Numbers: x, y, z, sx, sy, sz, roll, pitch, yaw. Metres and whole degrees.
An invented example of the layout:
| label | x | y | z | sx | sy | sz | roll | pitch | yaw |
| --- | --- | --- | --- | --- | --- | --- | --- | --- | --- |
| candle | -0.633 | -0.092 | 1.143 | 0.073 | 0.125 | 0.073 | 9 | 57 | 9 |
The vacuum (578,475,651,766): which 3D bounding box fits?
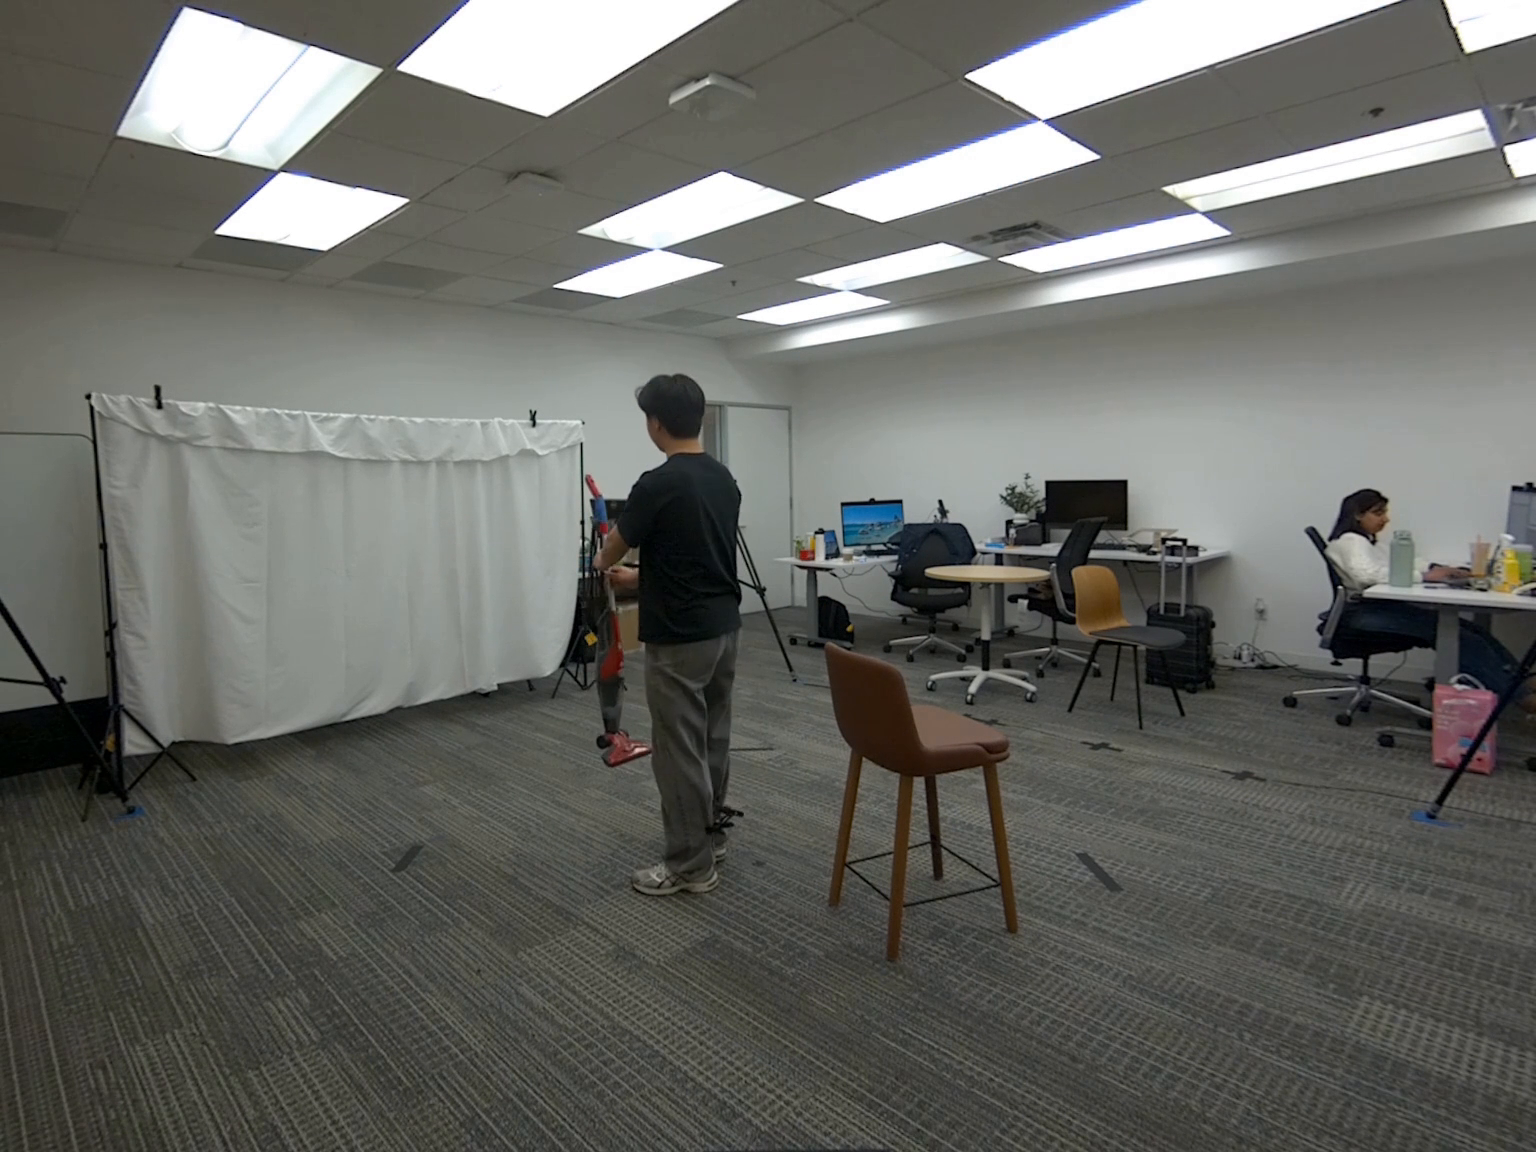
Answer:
| label | x | y | z | sx | sy | sz | roll | pitch | yaw |
| --- | --- | --- | --- | --- | --- | --- | --- | --- | --- |
| vacuum | -0.628 | 0.138 | 3.294 | 0.147 | 1.054 | 0.246 | -10 | -4 | 28 |
